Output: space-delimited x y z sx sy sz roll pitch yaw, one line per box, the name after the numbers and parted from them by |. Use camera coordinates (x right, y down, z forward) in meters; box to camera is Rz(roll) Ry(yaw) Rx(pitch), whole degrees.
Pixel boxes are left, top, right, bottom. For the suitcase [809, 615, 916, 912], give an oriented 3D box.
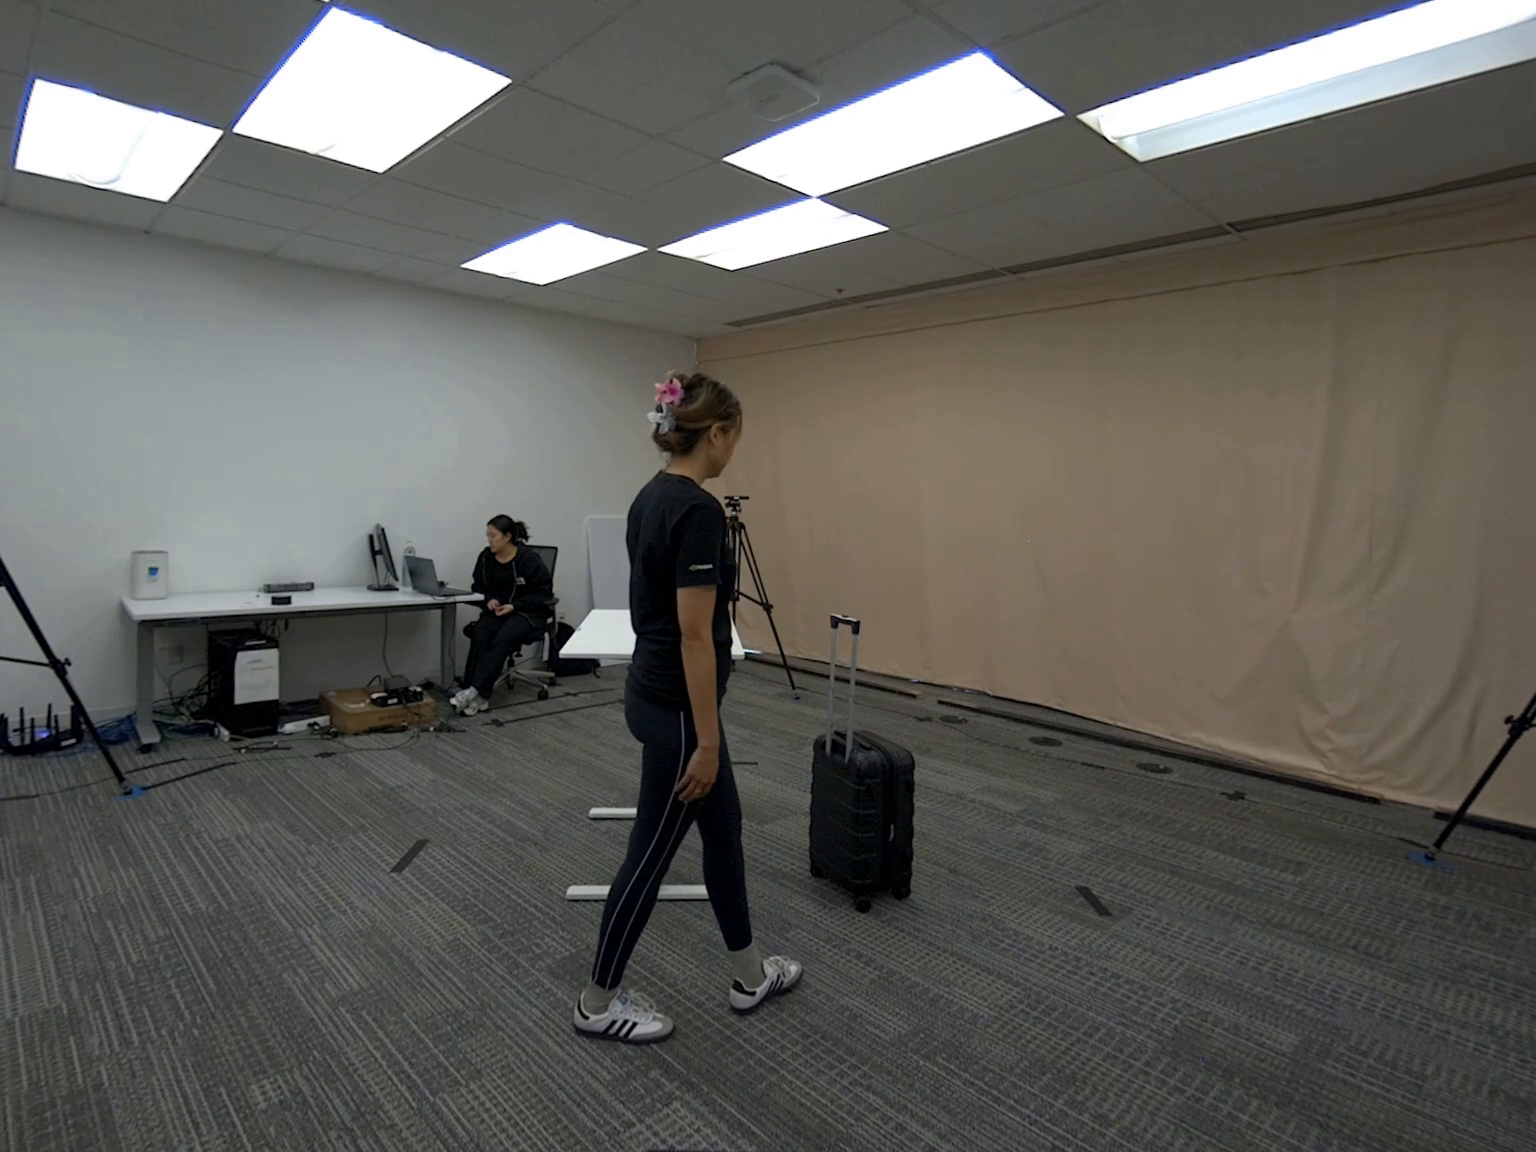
0.339 0.642 3.014 0.253 0.977 0.391 2 3 -22 | suitcase
